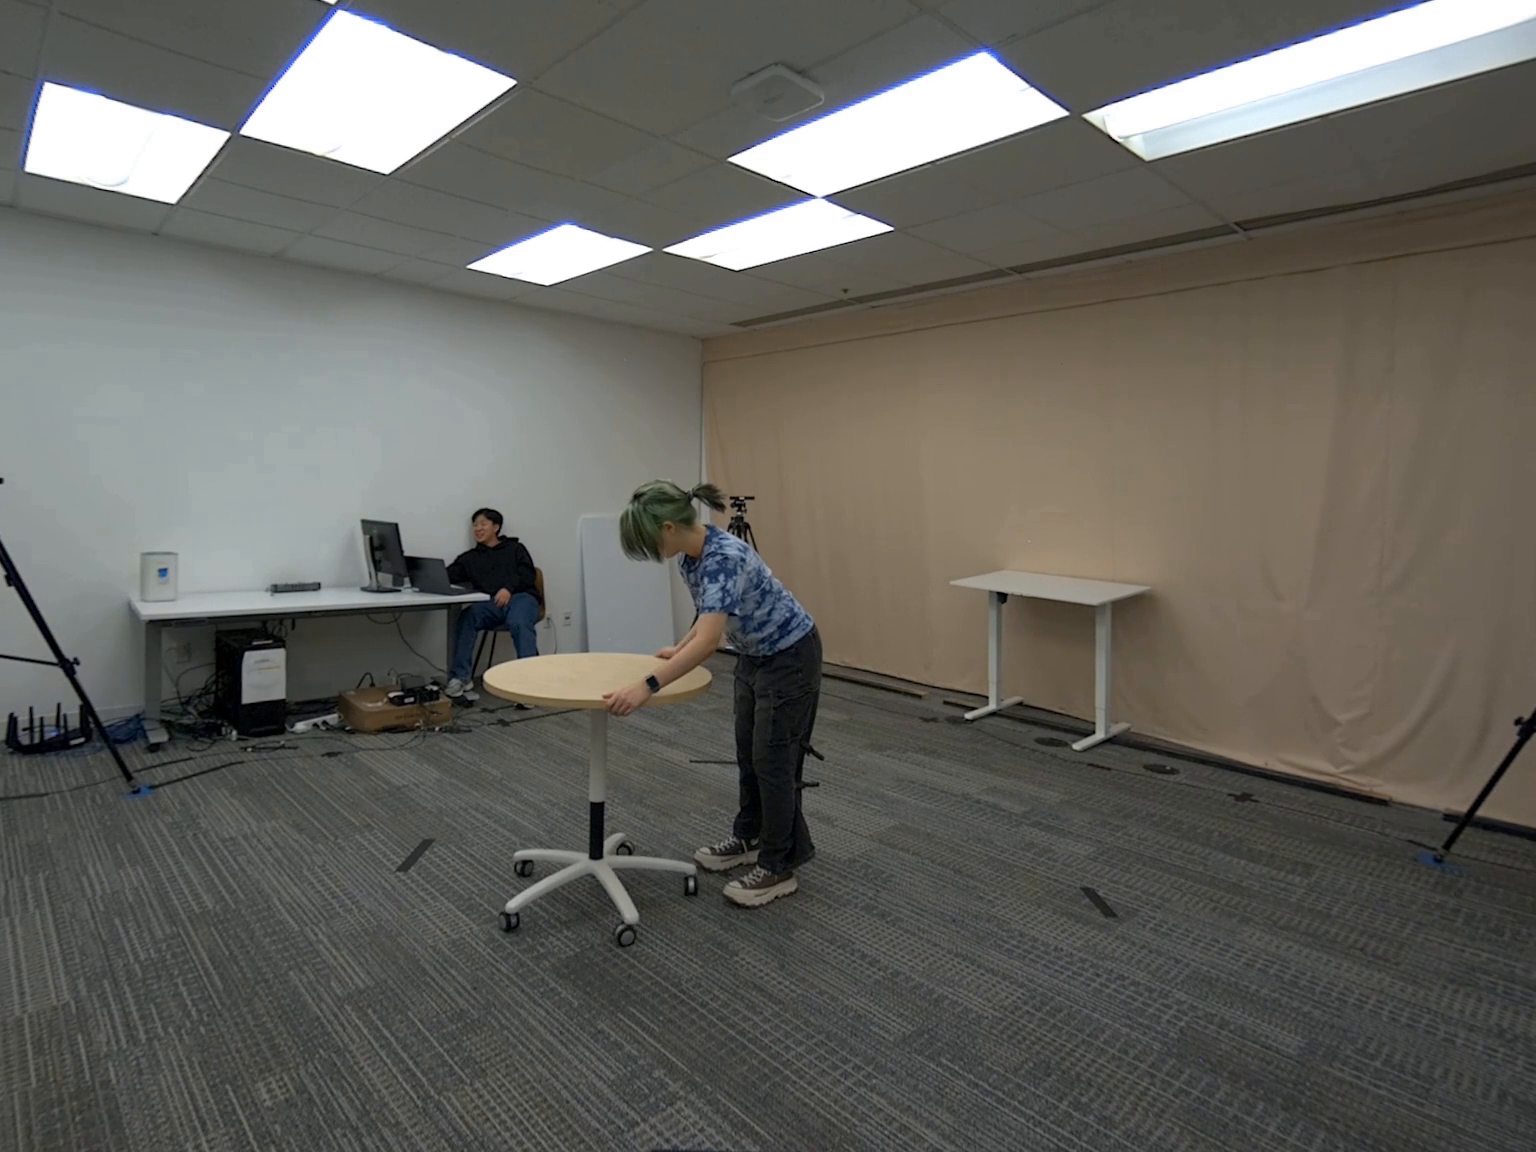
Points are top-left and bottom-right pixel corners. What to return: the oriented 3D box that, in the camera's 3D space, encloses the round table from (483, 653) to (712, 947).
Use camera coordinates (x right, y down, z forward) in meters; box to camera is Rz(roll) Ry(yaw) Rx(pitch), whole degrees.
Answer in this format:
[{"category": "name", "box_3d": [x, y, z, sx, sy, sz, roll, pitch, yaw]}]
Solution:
[{"category": "round table", "box_3d": [-0.593, 0.726, 2.887, 0.763, 0.792, 0.767, 1, 4, -1]}]
